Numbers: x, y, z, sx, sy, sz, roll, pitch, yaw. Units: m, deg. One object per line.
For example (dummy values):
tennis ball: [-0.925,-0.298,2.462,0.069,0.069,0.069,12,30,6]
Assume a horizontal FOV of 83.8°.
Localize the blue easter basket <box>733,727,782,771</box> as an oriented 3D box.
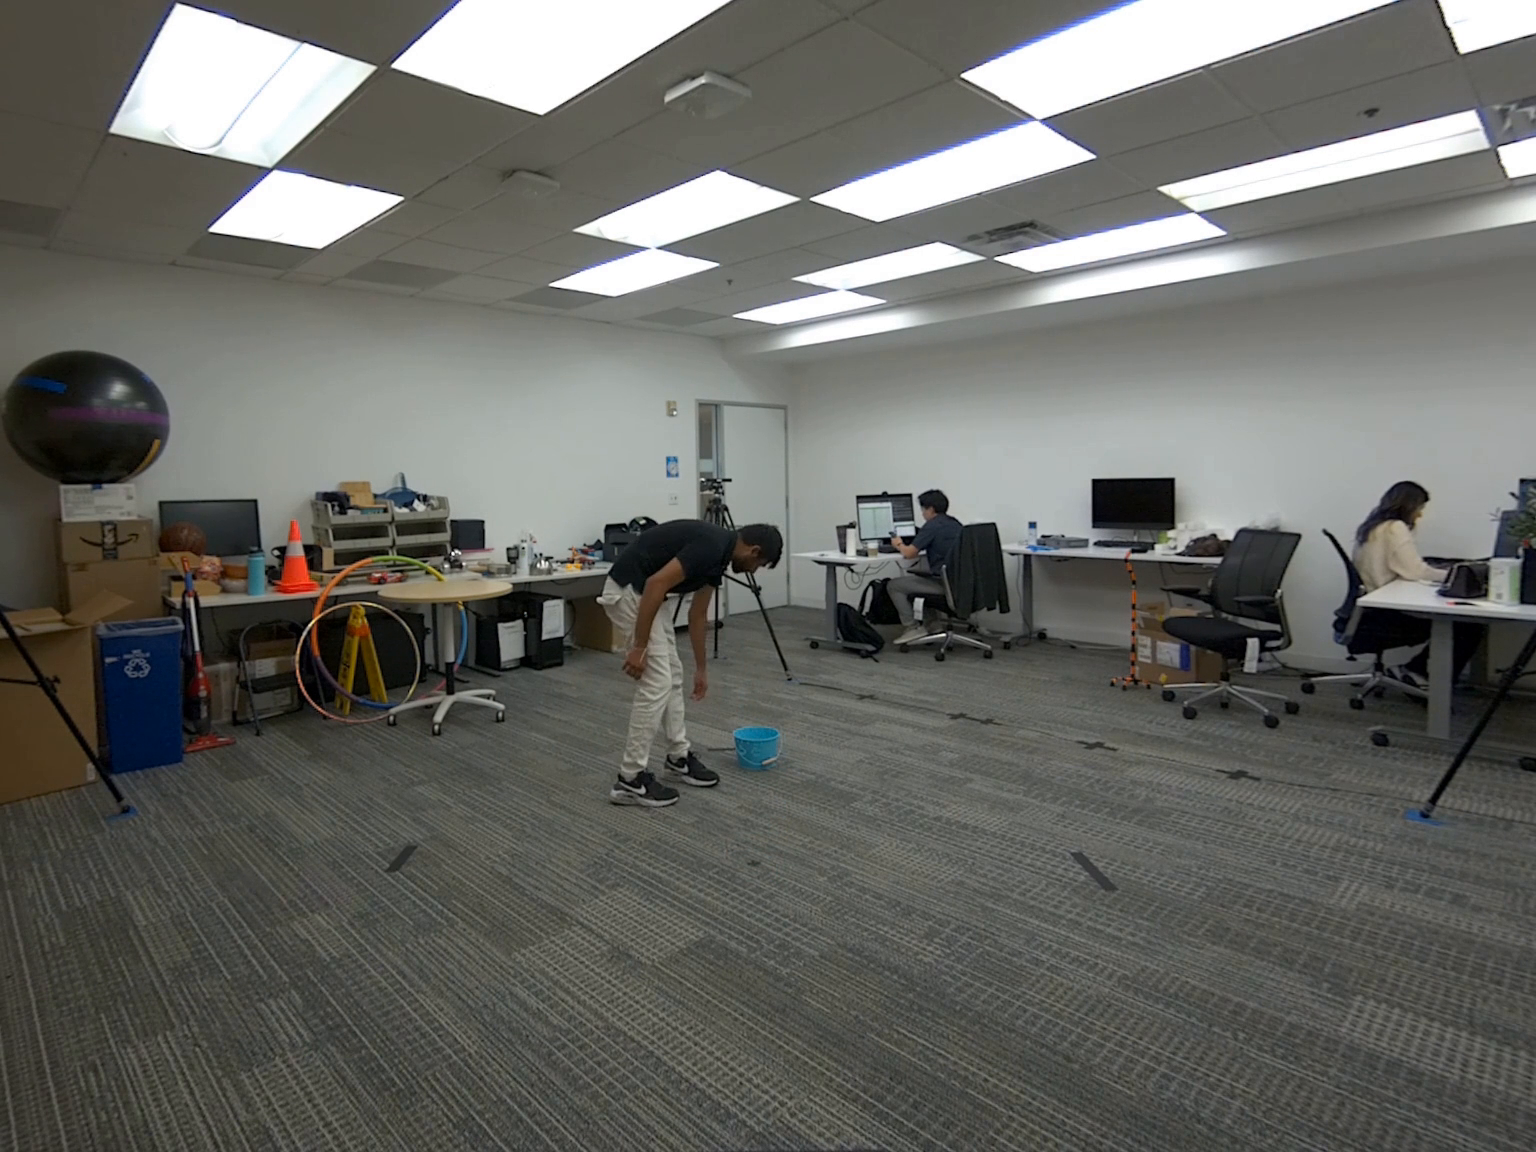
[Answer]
blue easter basket: [-0.059,0.849,4.200,0.243,0.155,0.245,-2,5,-2]
